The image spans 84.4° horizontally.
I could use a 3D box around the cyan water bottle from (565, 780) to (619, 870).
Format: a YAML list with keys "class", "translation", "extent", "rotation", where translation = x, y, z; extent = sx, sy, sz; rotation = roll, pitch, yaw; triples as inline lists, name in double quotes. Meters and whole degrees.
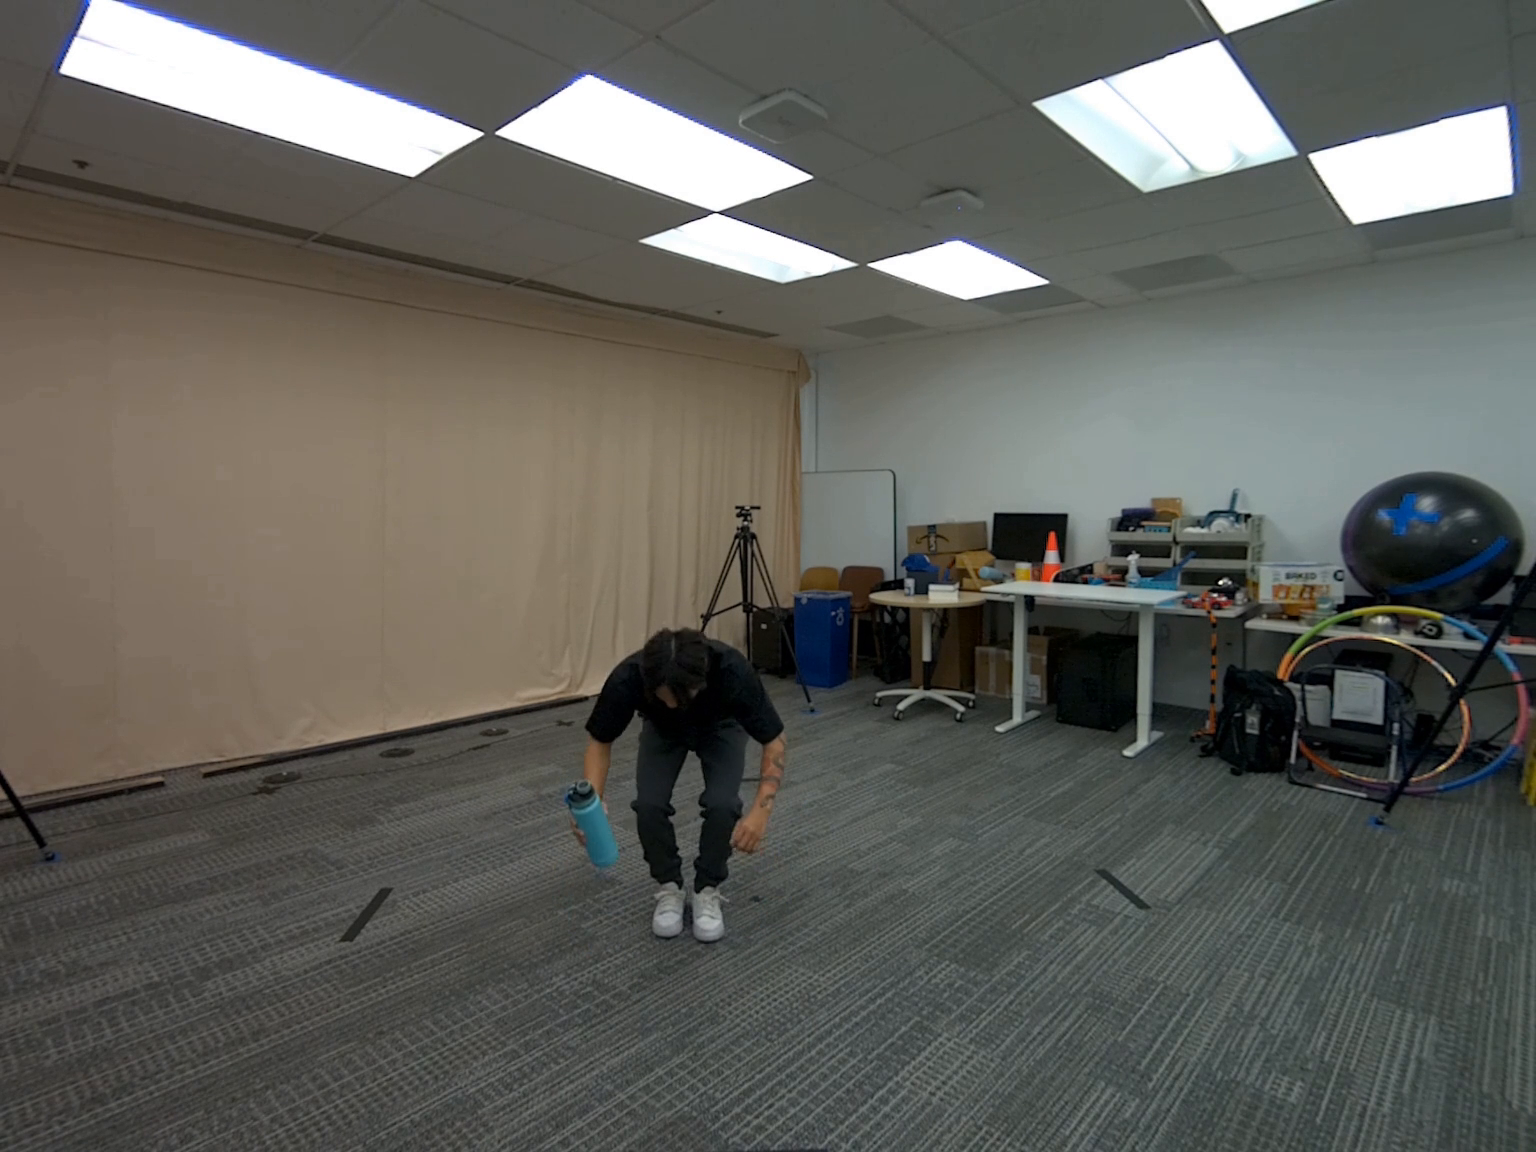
- class: "cyan water bottle"
  translation: [-0.505, 0.717, 2.473]
  extent: [0.093, 0.278, 0.094]
  rotation: [-11, 24, 3]
